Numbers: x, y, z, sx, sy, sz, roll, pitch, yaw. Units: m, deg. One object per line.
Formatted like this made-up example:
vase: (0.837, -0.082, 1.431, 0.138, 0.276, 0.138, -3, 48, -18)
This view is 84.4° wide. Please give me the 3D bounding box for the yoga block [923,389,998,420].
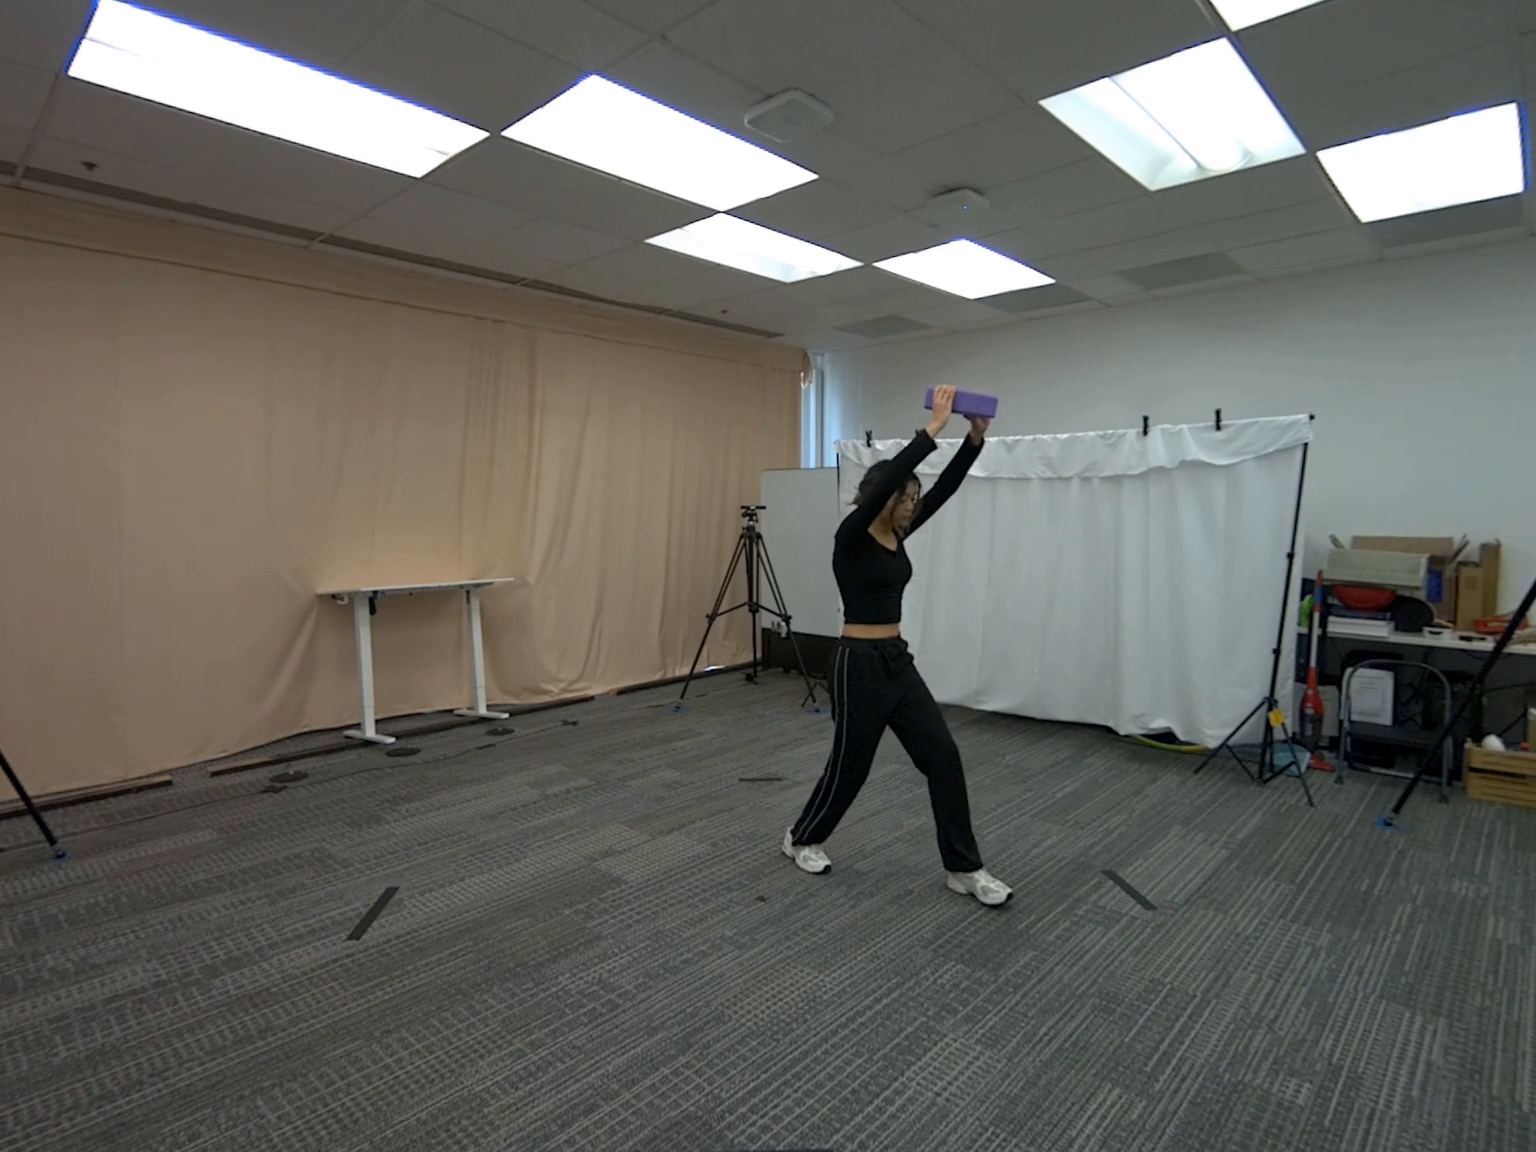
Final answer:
yoga block: (0.661, -0.587, 2.872, 0.222, 0.076, 0.154, -3, 16, -45)
